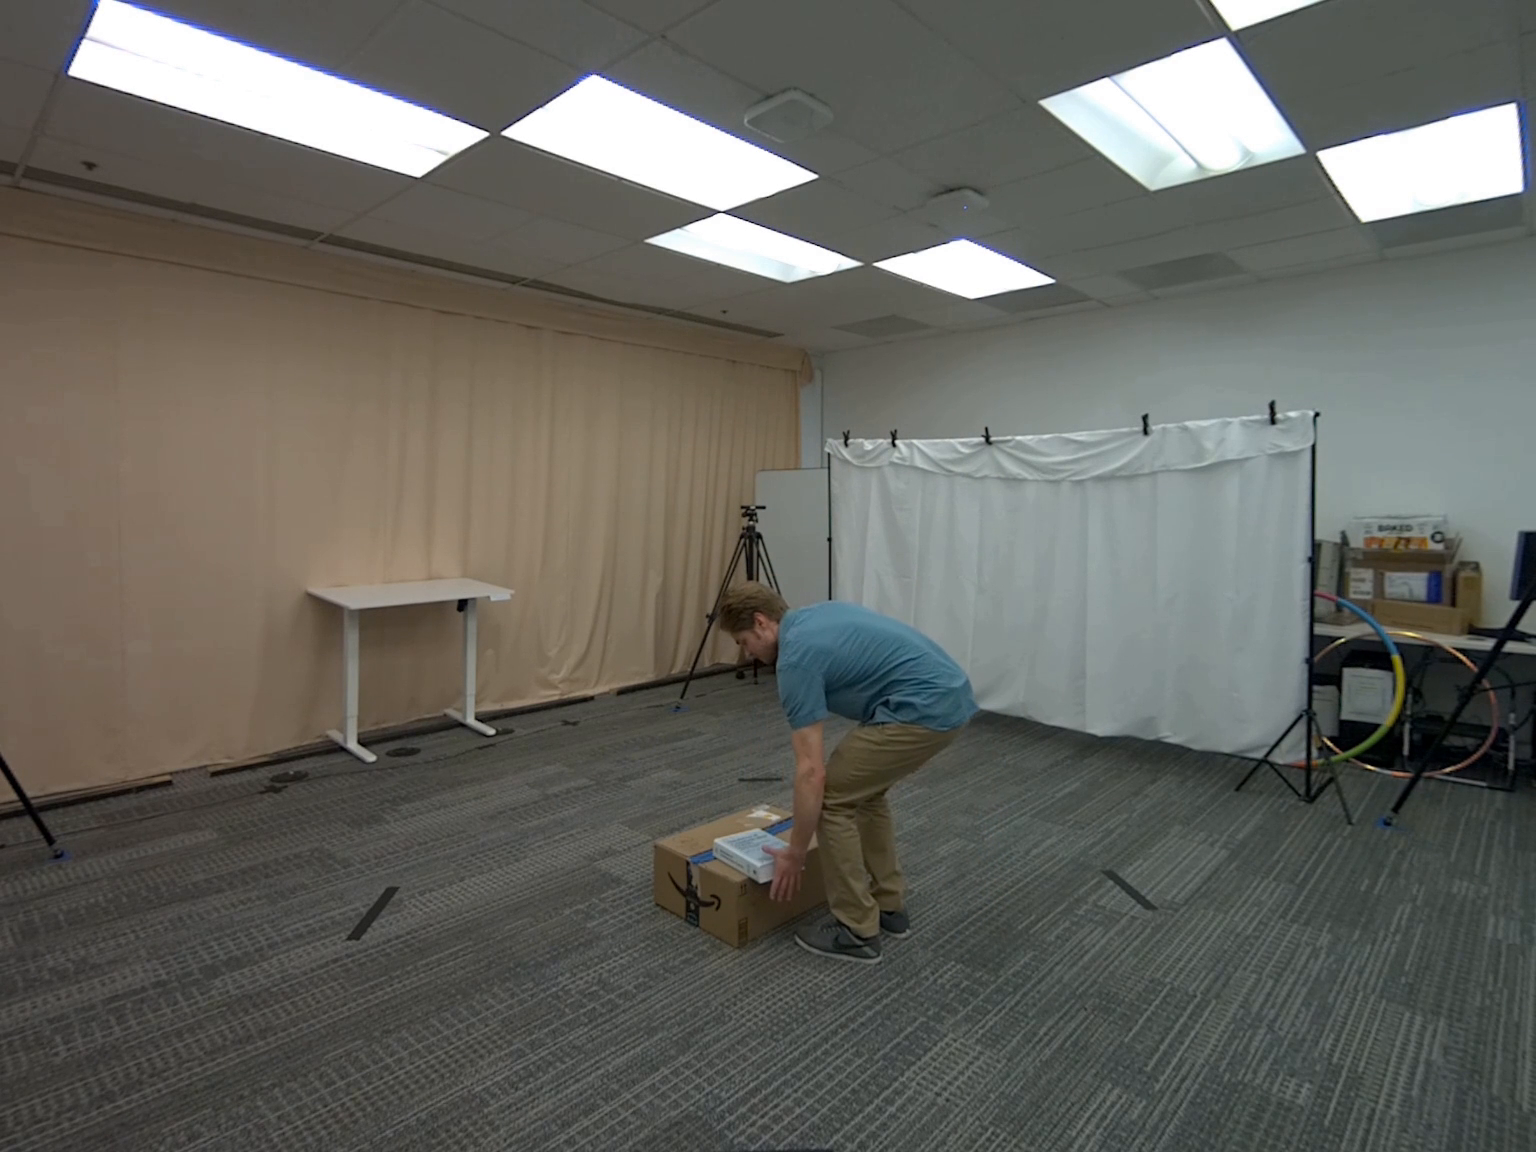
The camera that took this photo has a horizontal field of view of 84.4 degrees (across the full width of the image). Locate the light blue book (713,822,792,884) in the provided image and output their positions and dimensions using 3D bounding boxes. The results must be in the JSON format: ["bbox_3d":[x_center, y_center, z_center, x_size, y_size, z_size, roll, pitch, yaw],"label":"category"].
[{"bbox_3d":[-0.032,0.922,2.778,0.186,0.059,0.269,-3,4,-37],"label":"light blue book"}]
